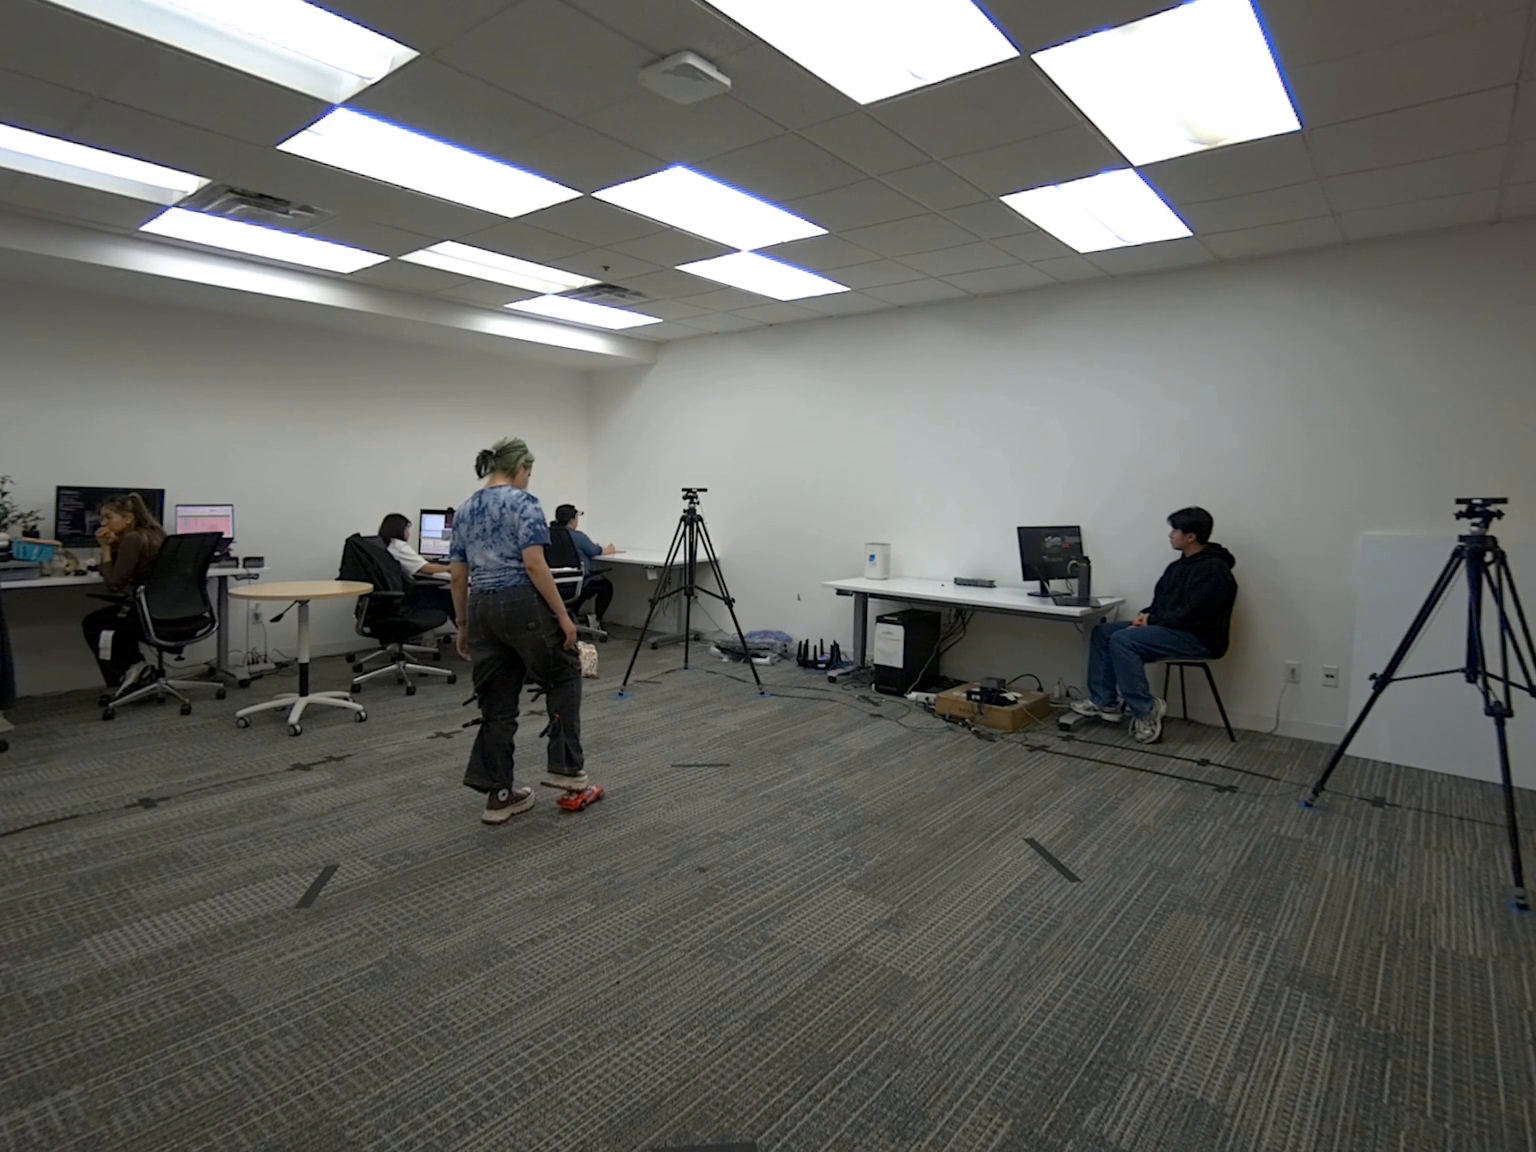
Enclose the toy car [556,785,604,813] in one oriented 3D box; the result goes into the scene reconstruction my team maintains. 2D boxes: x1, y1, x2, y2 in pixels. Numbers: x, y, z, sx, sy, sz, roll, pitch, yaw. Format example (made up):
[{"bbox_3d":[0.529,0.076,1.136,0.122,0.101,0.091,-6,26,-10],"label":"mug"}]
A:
[{"bbox_3d":[-0.843,0.975,3.733,0.133,0.083,0.247,2,-5,24],"label":"toy car"}]
